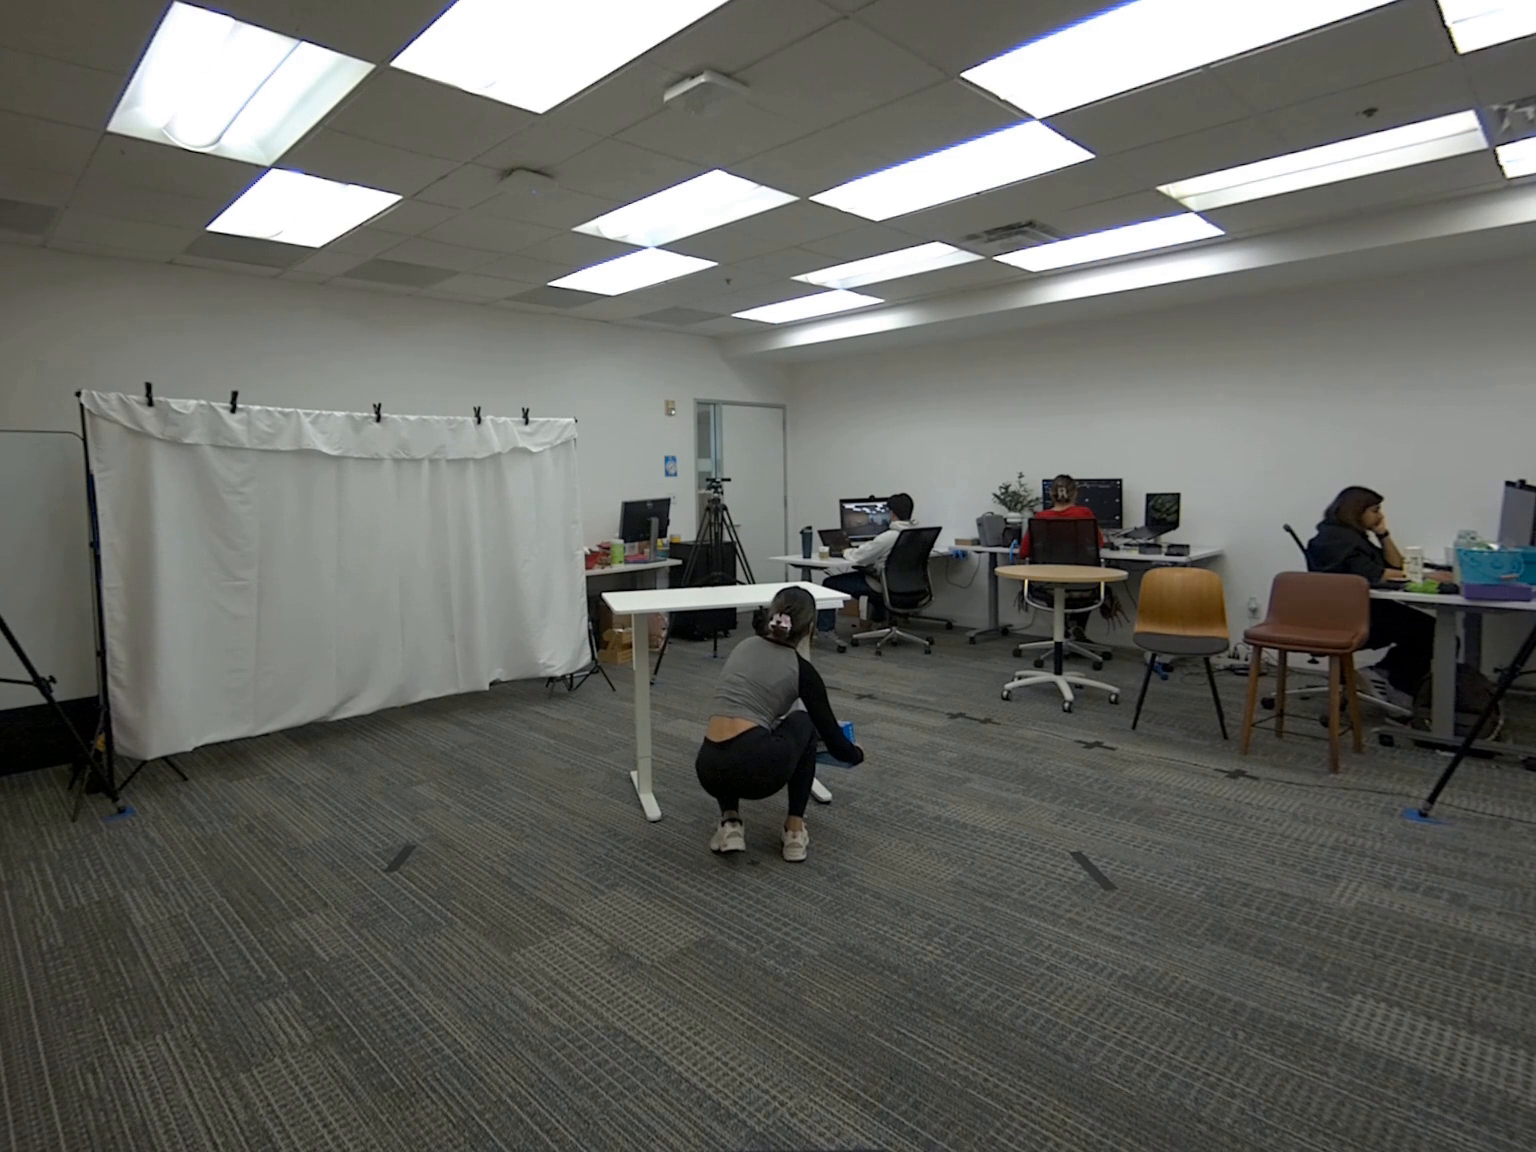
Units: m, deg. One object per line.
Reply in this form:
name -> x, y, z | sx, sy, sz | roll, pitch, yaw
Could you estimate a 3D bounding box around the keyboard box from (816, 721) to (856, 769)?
keyboard box -> 0.192, 0.685, 3.547 | 0.058, 0.175, 0.447 | -12, 4, -38
